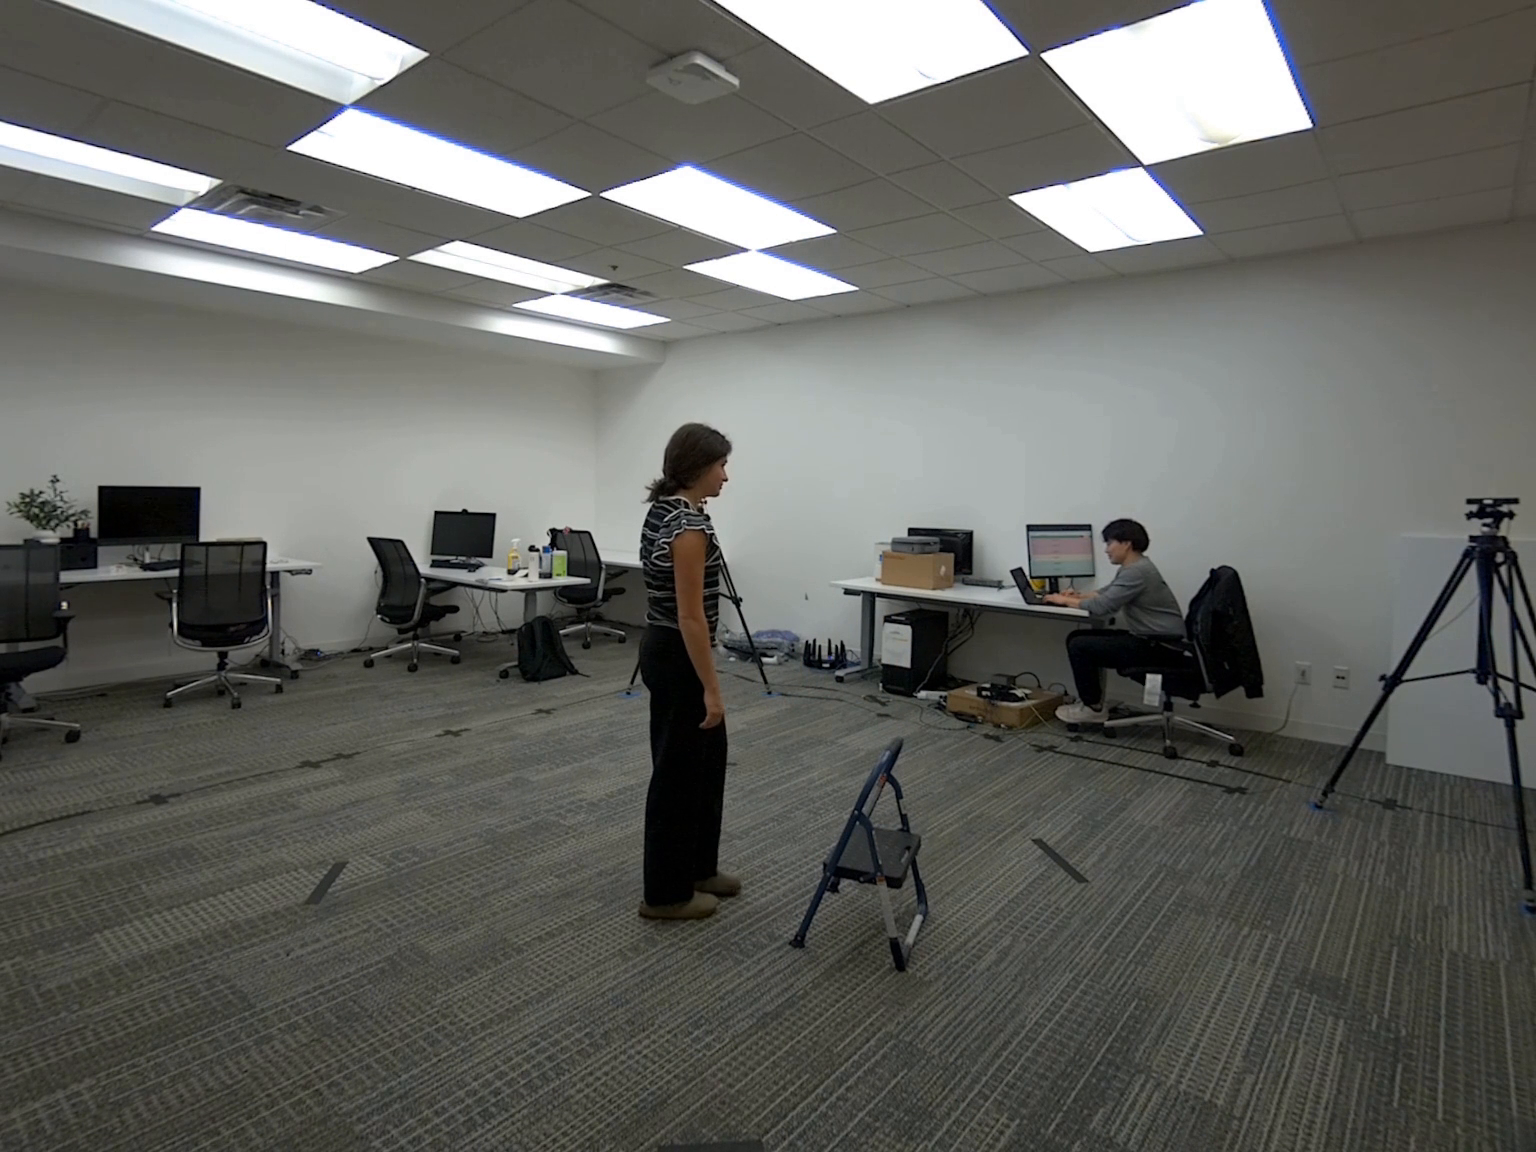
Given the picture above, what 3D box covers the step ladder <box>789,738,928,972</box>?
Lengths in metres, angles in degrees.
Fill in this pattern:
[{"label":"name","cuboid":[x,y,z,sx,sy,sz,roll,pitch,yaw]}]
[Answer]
[{"label":"step ladder","cuboid":[0.306,0.821,2.699,0.357,0.604,0.422,3,4,21]}]
